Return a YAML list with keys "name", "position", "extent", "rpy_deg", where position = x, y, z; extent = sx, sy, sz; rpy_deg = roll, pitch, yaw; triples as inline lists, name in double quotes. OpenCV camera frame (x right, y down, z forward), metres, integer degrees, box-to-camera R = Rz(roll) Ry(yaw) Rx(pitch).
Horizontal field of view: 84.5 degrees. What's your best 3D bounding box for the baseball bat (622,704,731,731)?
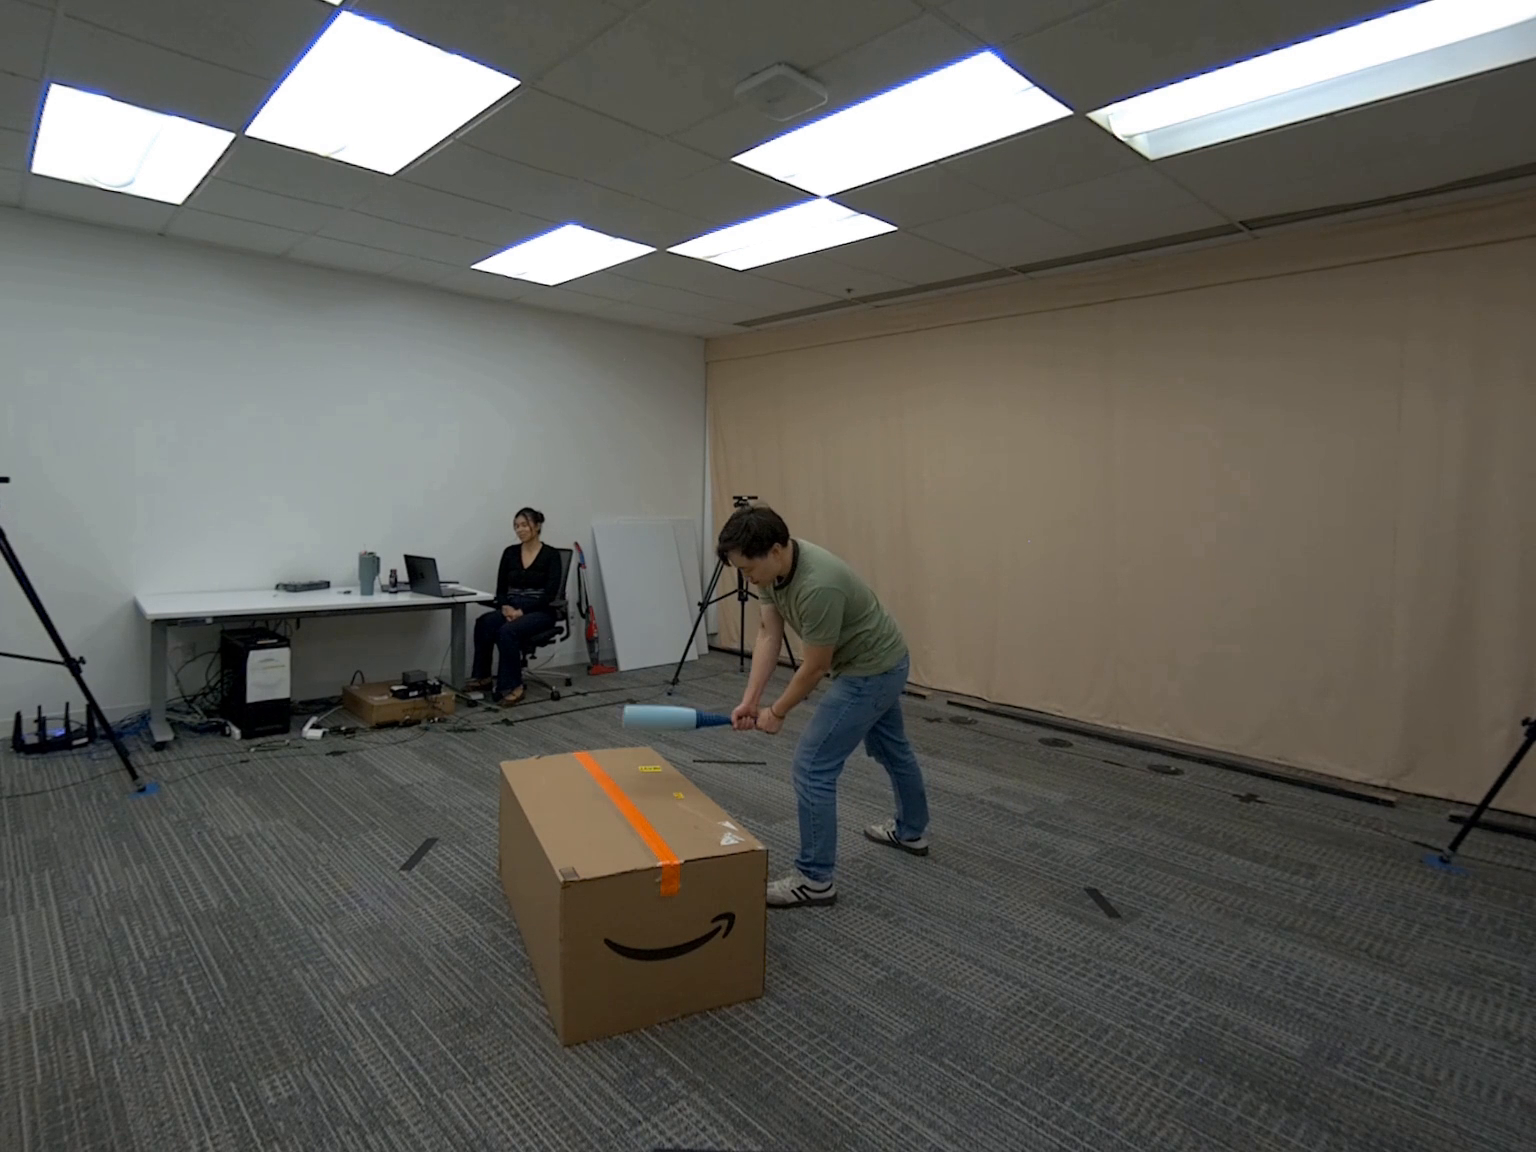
- name: "baseball bat"
  position: [-0.236, 0.476, 2.935]
  extent: [0.539, 0.089, 0.090]
  rpy_deg: [5, 4, -9]
